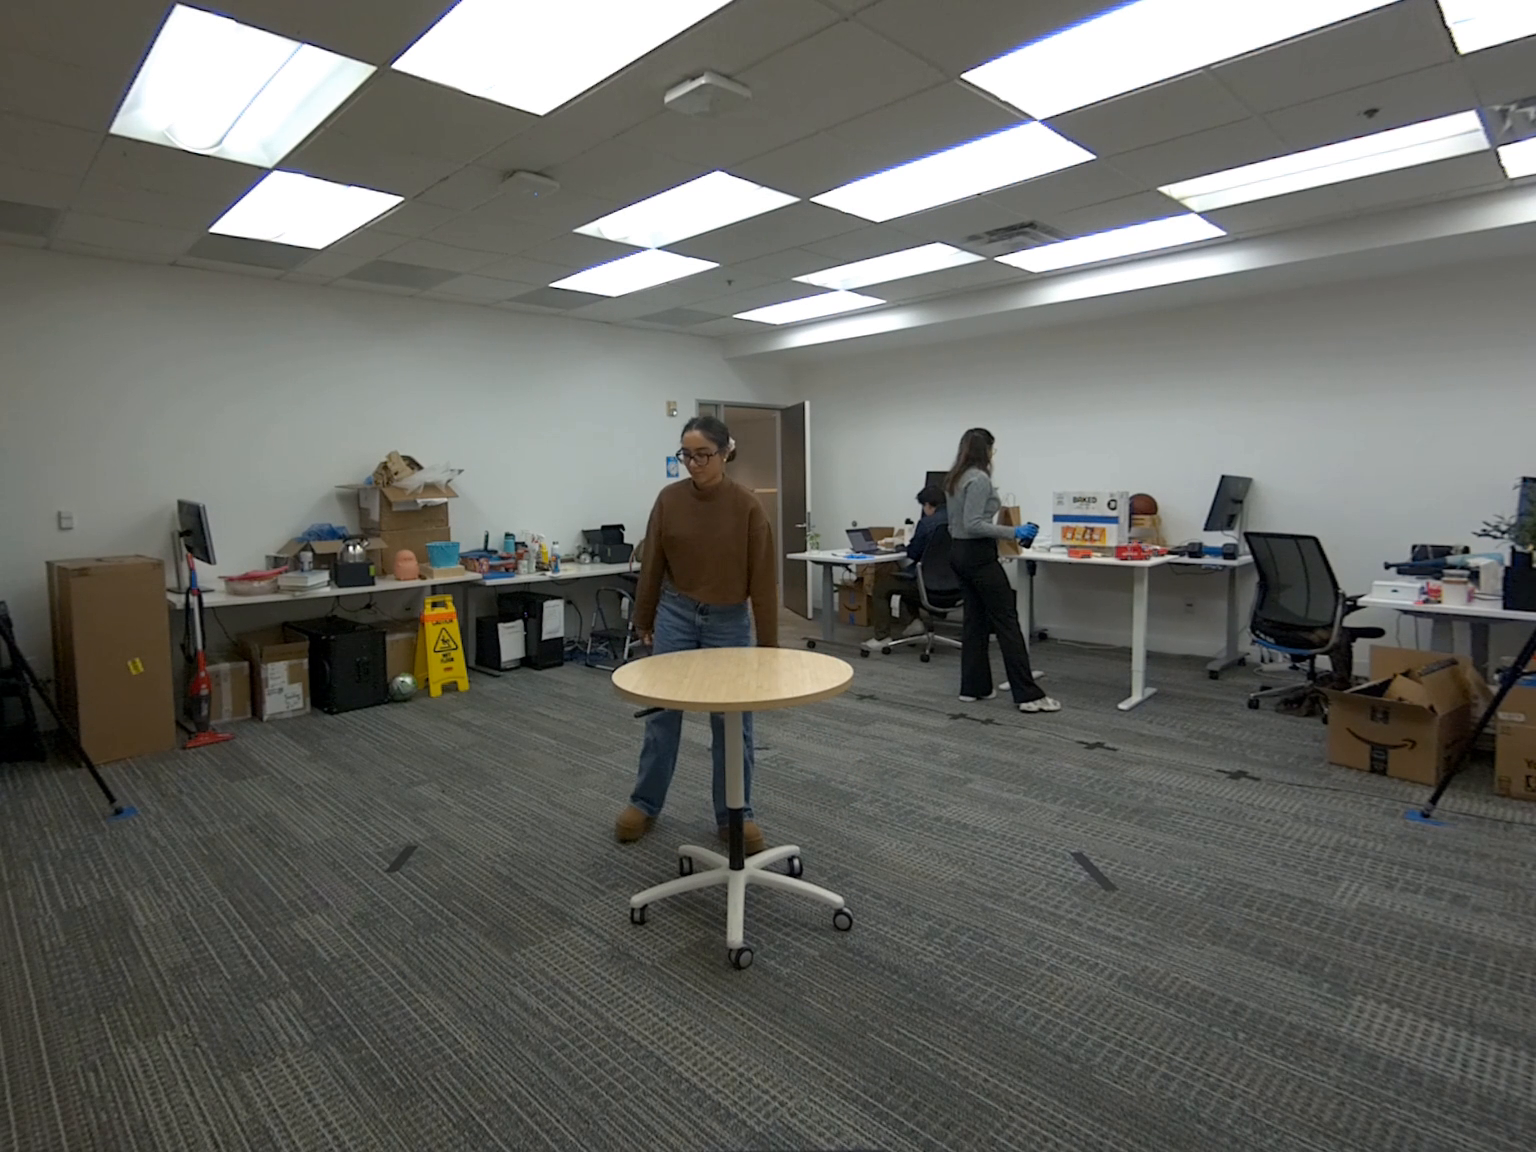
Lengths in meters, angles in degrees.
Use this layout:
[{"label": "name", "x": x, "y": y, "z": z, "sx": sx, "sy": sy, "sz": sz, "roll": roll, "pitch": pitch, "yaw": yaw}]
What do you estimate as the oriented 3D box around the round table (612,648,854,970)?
[{"label": "round table", "x": -0.105, "y": 0.699, "z": 2.748, "sx": 0.763, "sy": 0.791, "sz": 0.768, "roll": -1, "pitch": 5, "yaw": -2}]
